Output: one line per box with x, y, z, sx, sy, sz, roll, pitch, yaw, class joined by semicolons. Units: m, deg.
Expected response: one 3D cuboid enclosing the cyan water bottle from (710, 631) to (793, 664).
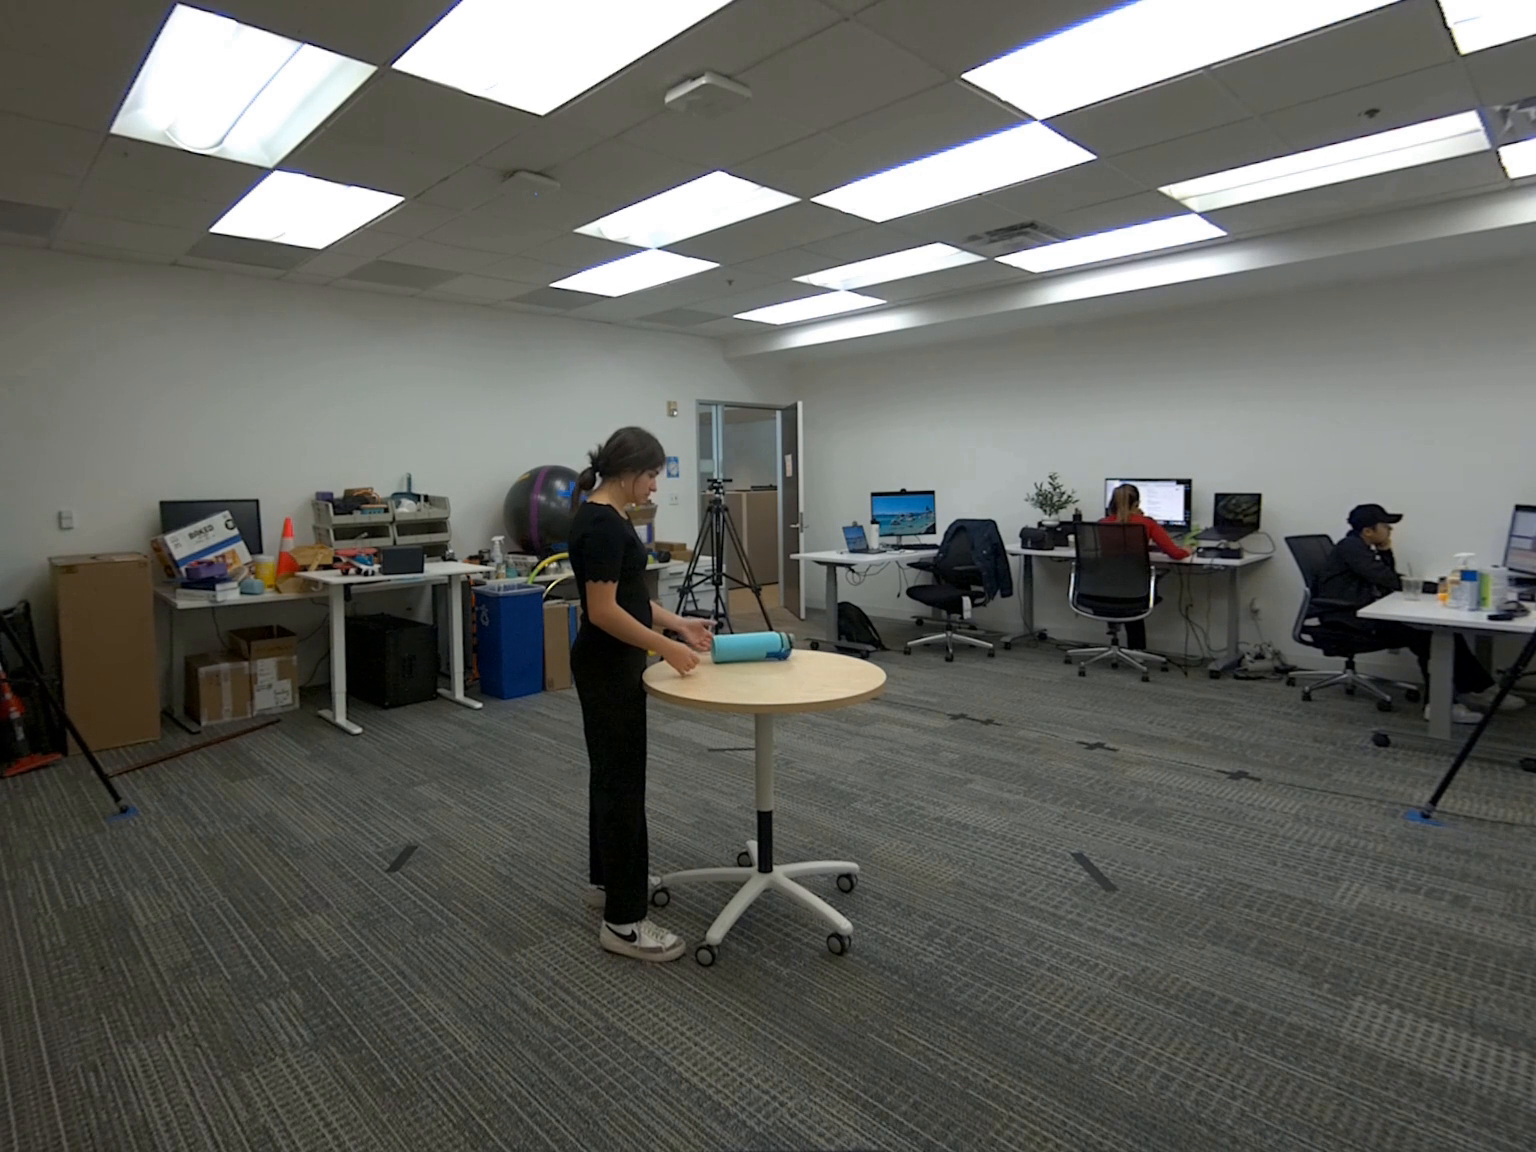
-0.051;0.237;2.887;0.280;0.092;0.094;-3;5;-13;cyan water bottle
